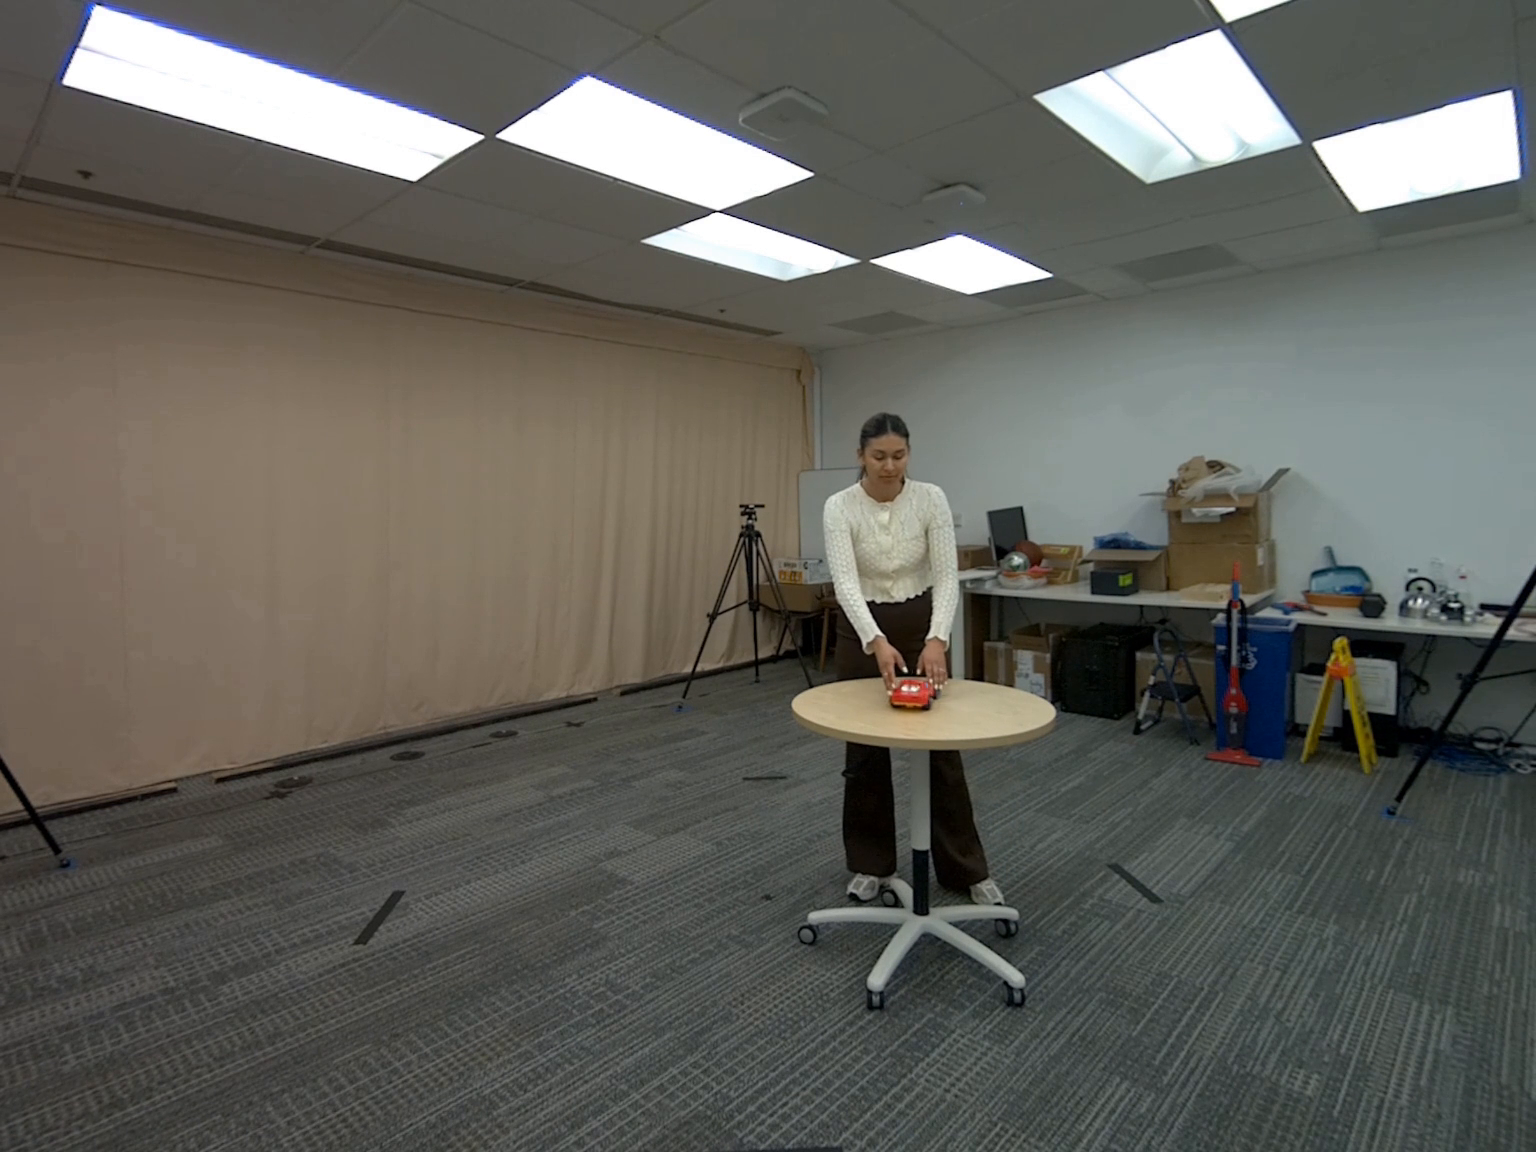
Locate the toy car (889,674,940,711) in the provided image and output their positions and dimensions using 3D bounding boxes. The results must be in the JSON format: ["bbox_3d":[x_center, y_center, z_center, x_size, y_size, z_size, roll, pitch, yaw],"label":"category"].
[{"bbox_3d":[0.435,0.352,2.531,0.133,0.083,0.248,-1,-5,21],"label":"toy car"}]
